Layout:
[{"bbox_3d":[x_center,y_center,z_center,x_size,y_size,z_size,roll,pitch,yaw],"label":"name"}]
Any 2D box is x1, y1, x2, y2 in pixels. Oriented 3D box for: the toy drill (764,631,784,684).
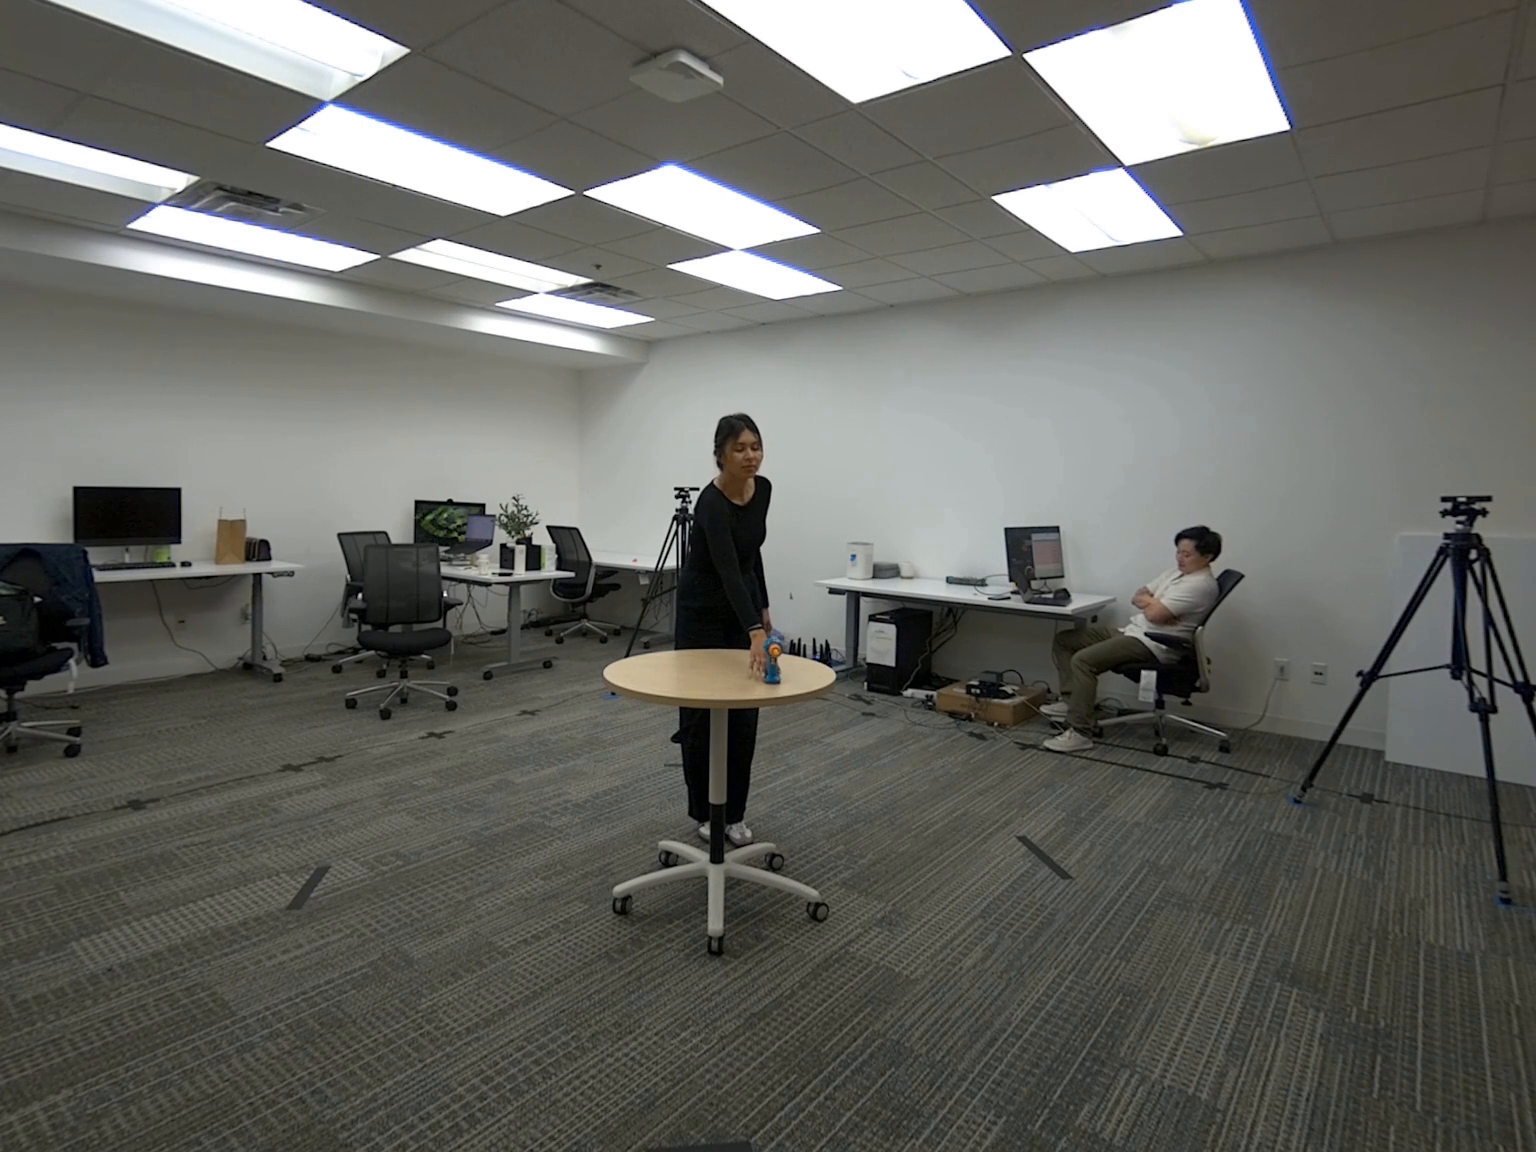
[{"bbox_3d":[0.006,0.259,2.628,0.061,0.145,0.171,-1,4,-3],"label":"toy drill"}]
